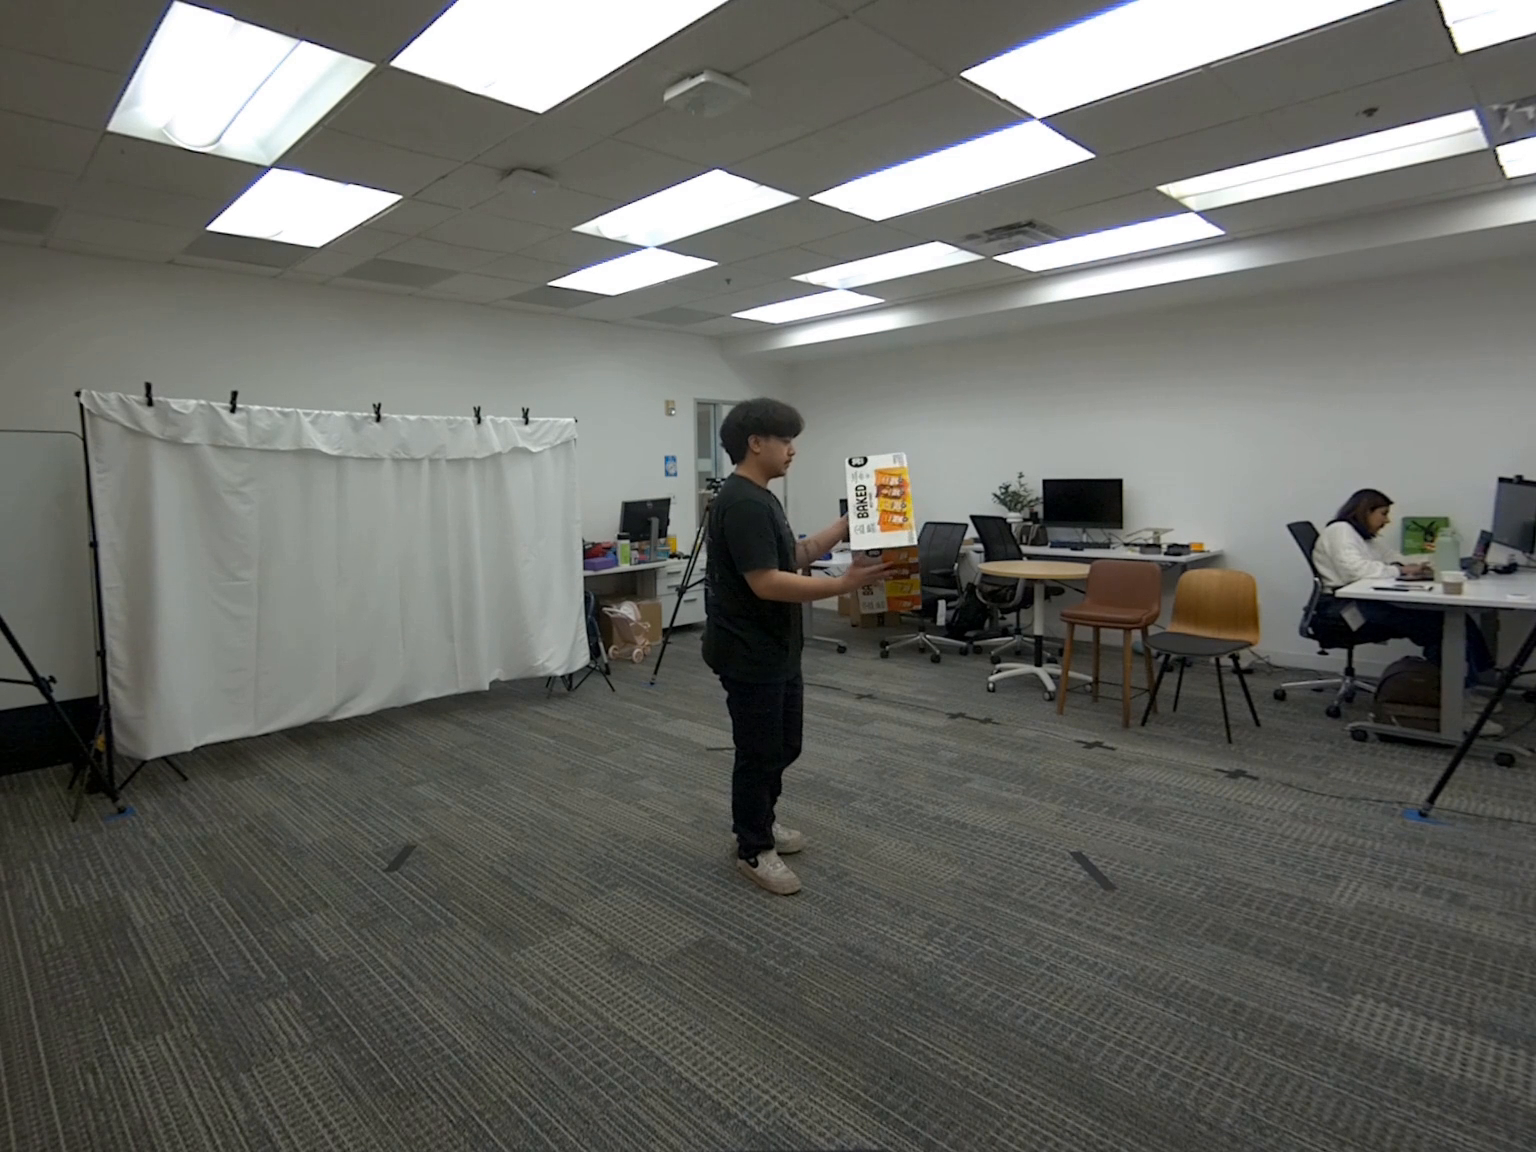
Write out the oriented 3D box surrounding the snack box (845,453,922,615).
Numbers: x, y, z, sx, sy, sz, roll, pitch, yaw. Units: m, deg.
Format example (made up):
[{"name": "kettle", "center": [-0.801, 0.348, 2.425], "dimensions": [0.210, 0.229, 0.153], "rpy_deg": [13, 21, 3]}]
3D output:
[{"name": "snack box", "center": [0.384, -0.140, 2.846], "dimensions": [0.207, 0.415, 0.329], "rpy_deg": [-5, -40, 9]}]
